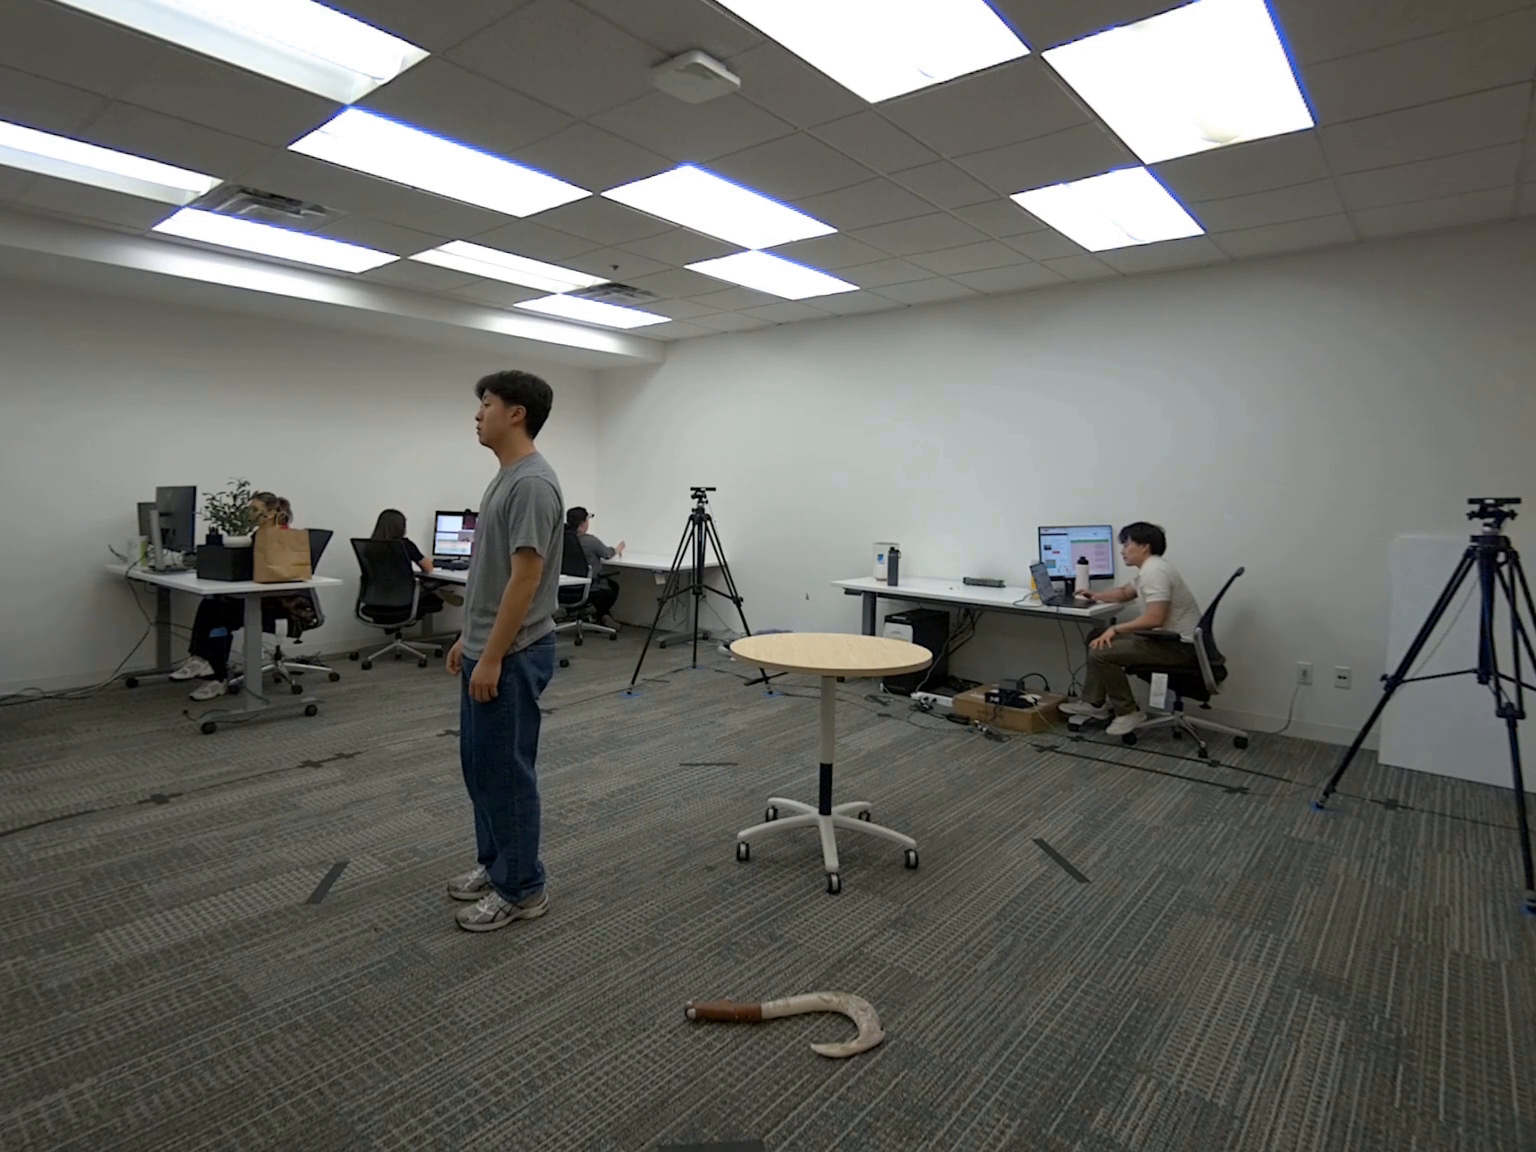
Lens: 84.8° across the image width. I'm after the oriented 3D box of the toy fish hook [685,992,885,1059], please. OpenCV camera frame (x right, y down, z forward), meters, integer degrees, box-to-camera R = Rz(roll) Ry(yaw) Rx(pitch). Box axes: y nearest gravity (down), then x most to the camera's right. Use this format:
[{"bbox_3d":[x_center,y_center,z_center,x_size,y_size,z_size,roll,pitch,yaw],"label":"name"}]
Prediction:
[{"bbox_3d":[0.034,1.142,2.181,0.505,0.048,0.226,0,5,-4],"label":"toy fish hook"}]
